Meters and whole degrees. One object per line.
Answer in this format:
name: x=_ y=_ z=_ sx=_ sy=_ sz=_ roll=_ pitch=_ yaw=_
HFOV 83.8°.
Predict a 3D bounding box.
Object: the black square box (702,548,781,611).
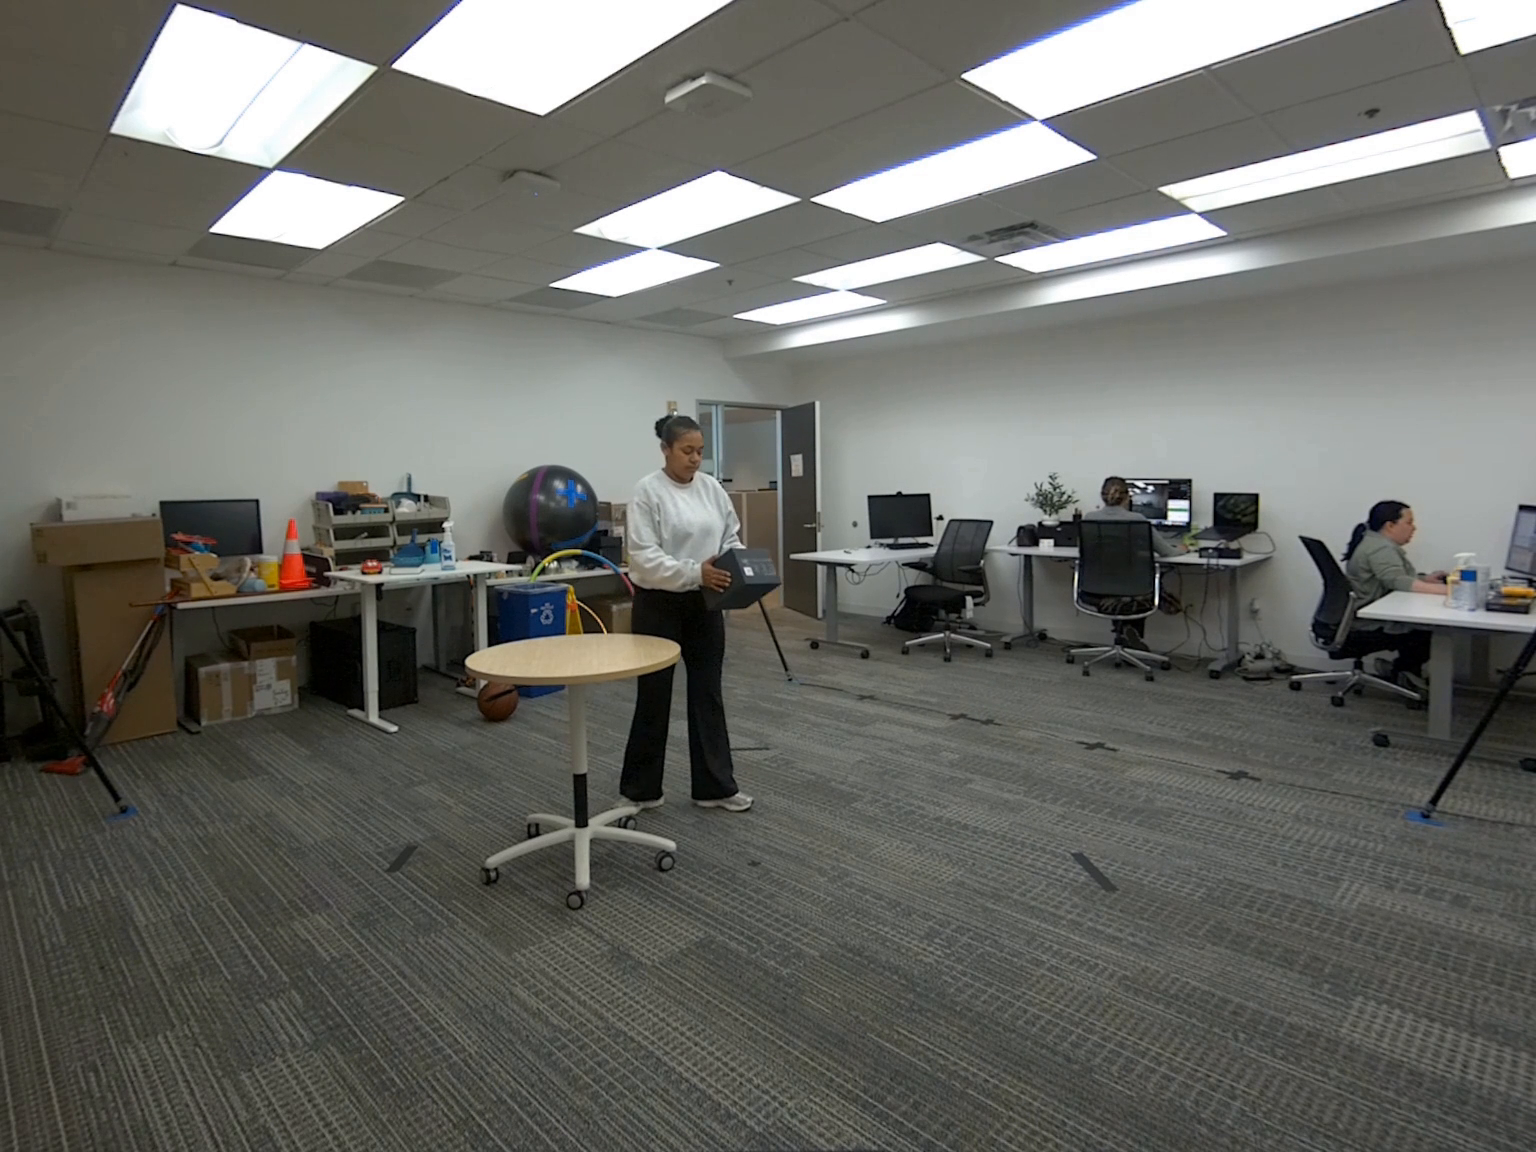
black square box: x=-0.121 y=0.016 z=3.340 sx=0.210 sy=0.159 sz=0.229 roll=0 pitch=-28 yaw=-47
